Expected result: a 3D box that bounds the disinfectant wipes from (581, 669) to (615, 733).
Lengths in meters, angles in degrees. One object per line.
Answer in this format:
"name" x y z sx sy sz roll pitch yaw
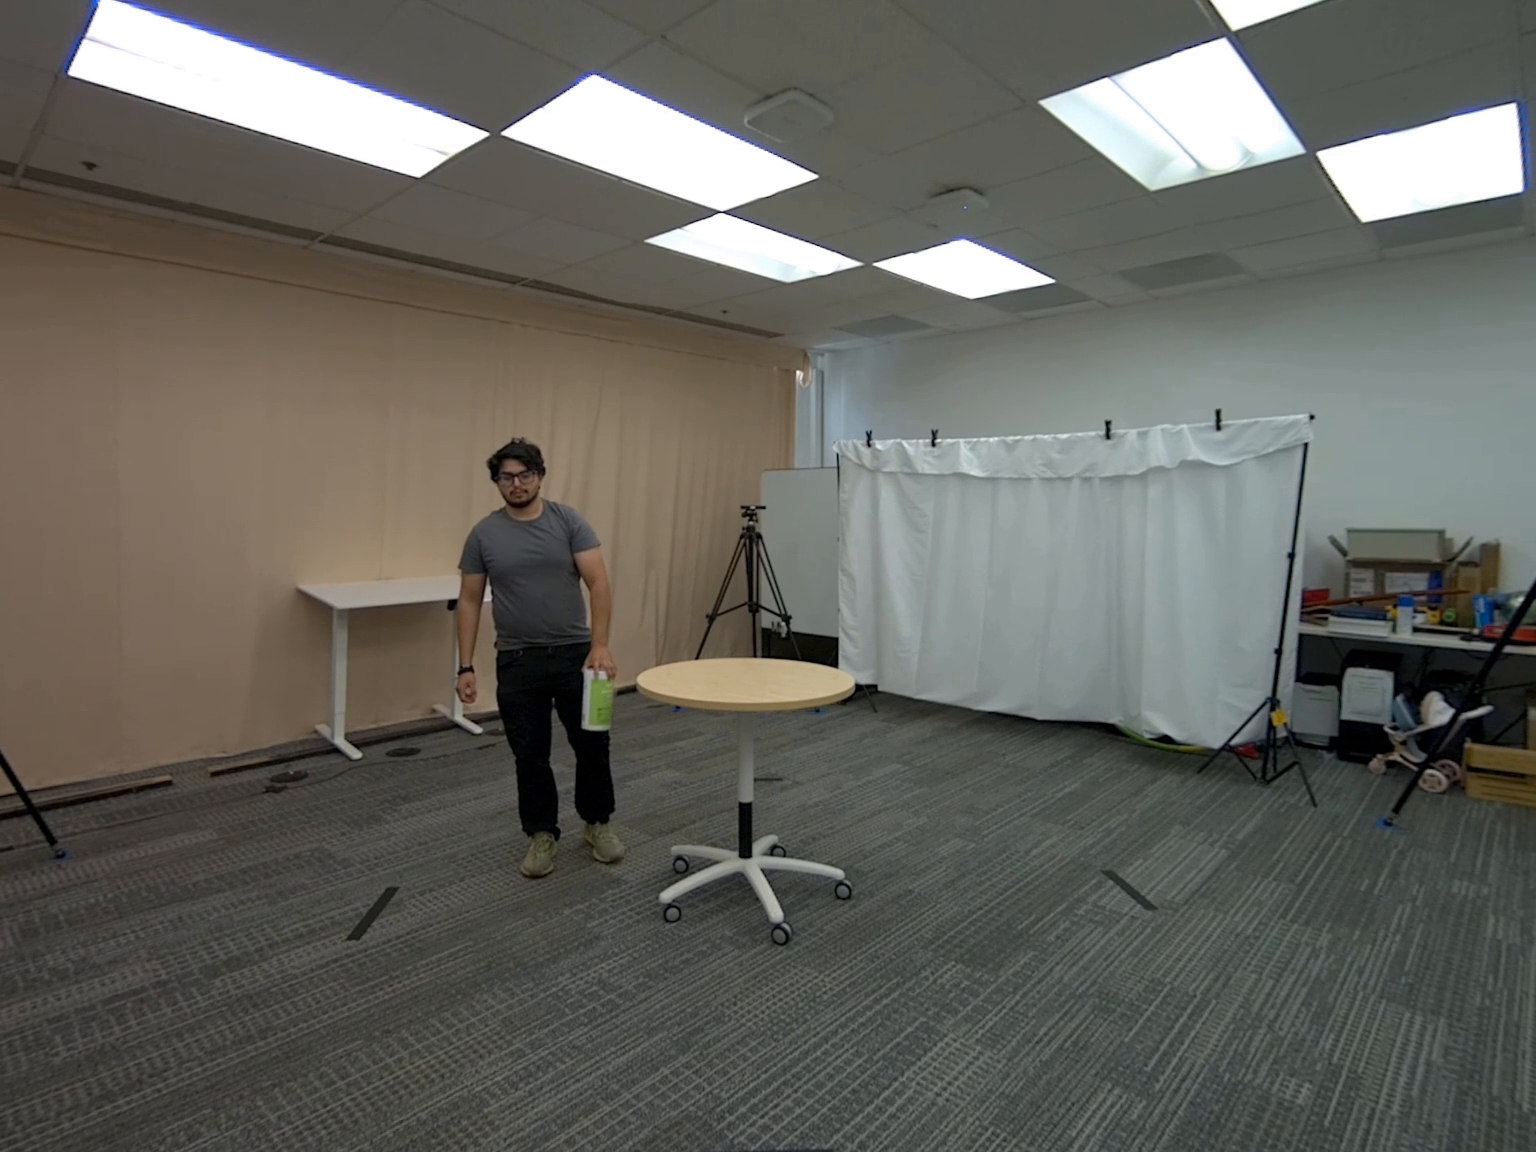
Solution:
"disinfectant wipes" -0.621 0.456 3.071 0.118 0.218 0.118 3 -2 -2
